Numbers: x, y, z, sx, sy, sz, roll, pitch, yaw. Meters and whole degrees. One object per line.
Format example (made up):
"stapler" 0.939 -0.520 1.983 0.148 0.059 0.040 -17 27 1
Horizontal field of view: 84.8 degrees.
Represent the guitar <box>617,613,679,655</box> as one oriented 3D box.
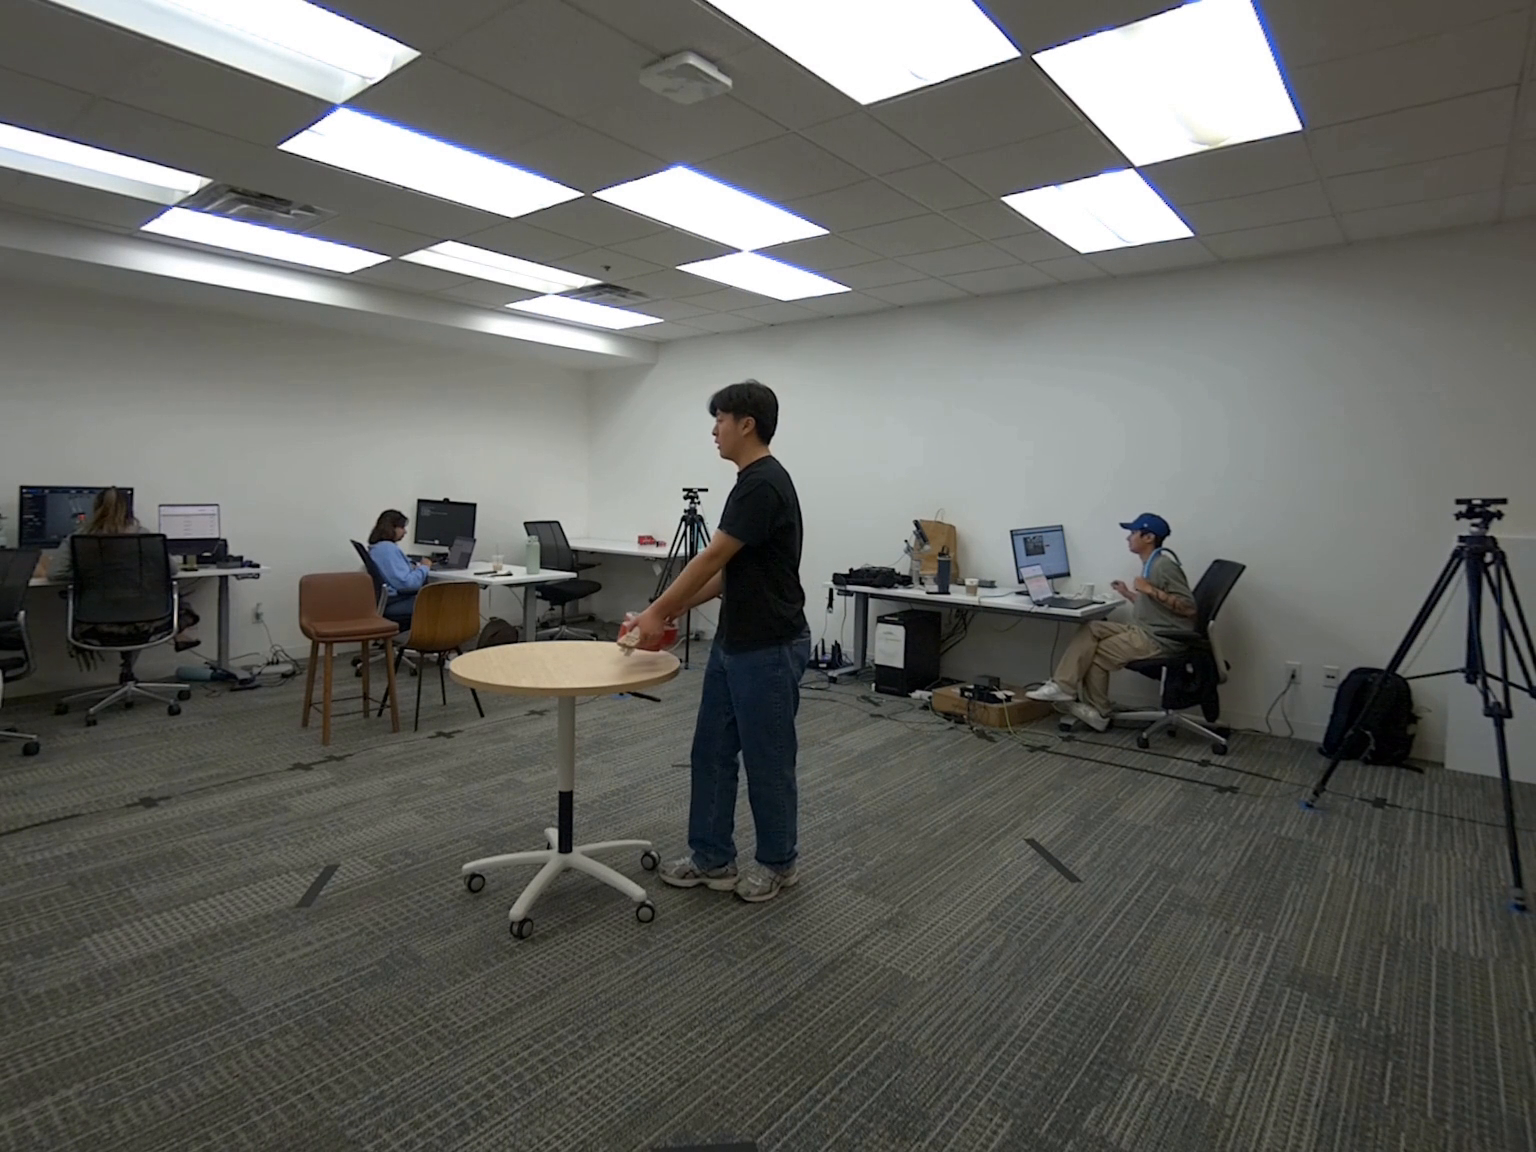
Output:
"guitar" -0.463 0.196 2.827 0.196 0.070 0.491 17 7 12
